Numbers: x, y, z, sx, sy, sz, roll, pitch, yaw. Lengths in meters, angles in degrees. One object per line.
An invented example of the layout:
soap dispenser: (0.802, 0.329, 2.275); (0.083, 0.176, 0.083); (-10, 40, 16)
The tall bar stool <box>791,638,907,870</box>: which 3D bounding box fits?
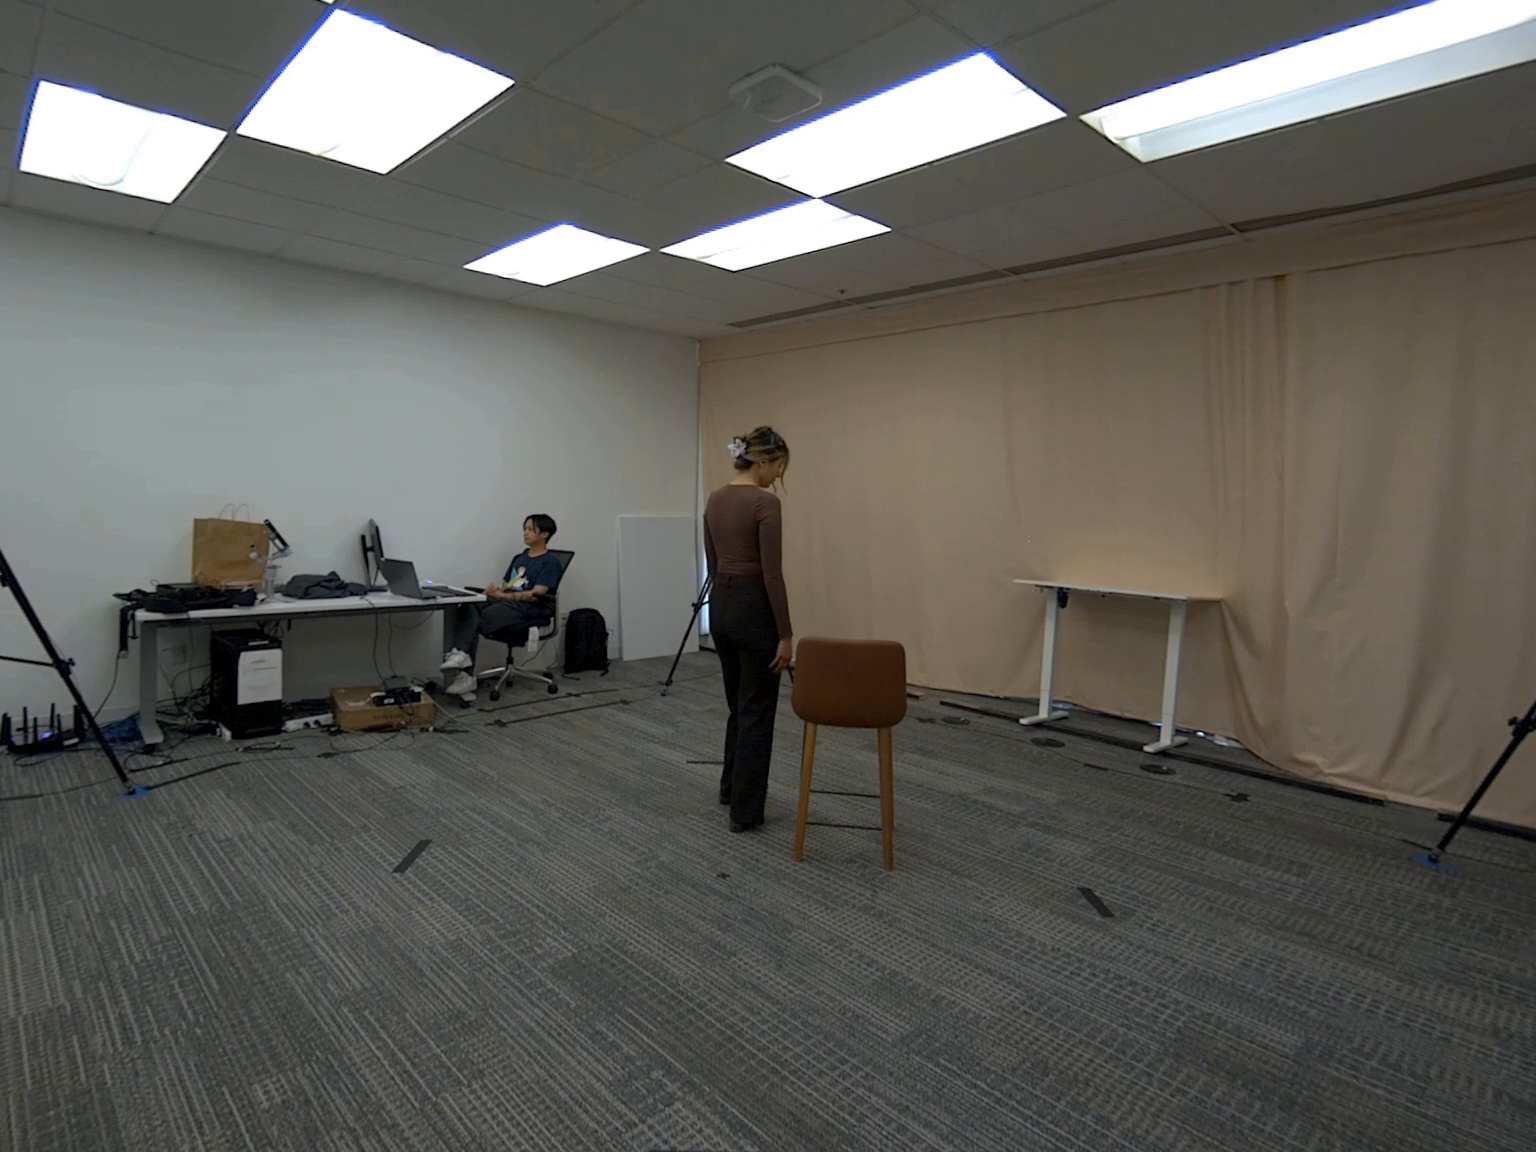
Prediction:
tall bar stool: (0.319, 0.659, 3.404); (0.460, 0.887, 0.465); (2, 4, 9)
